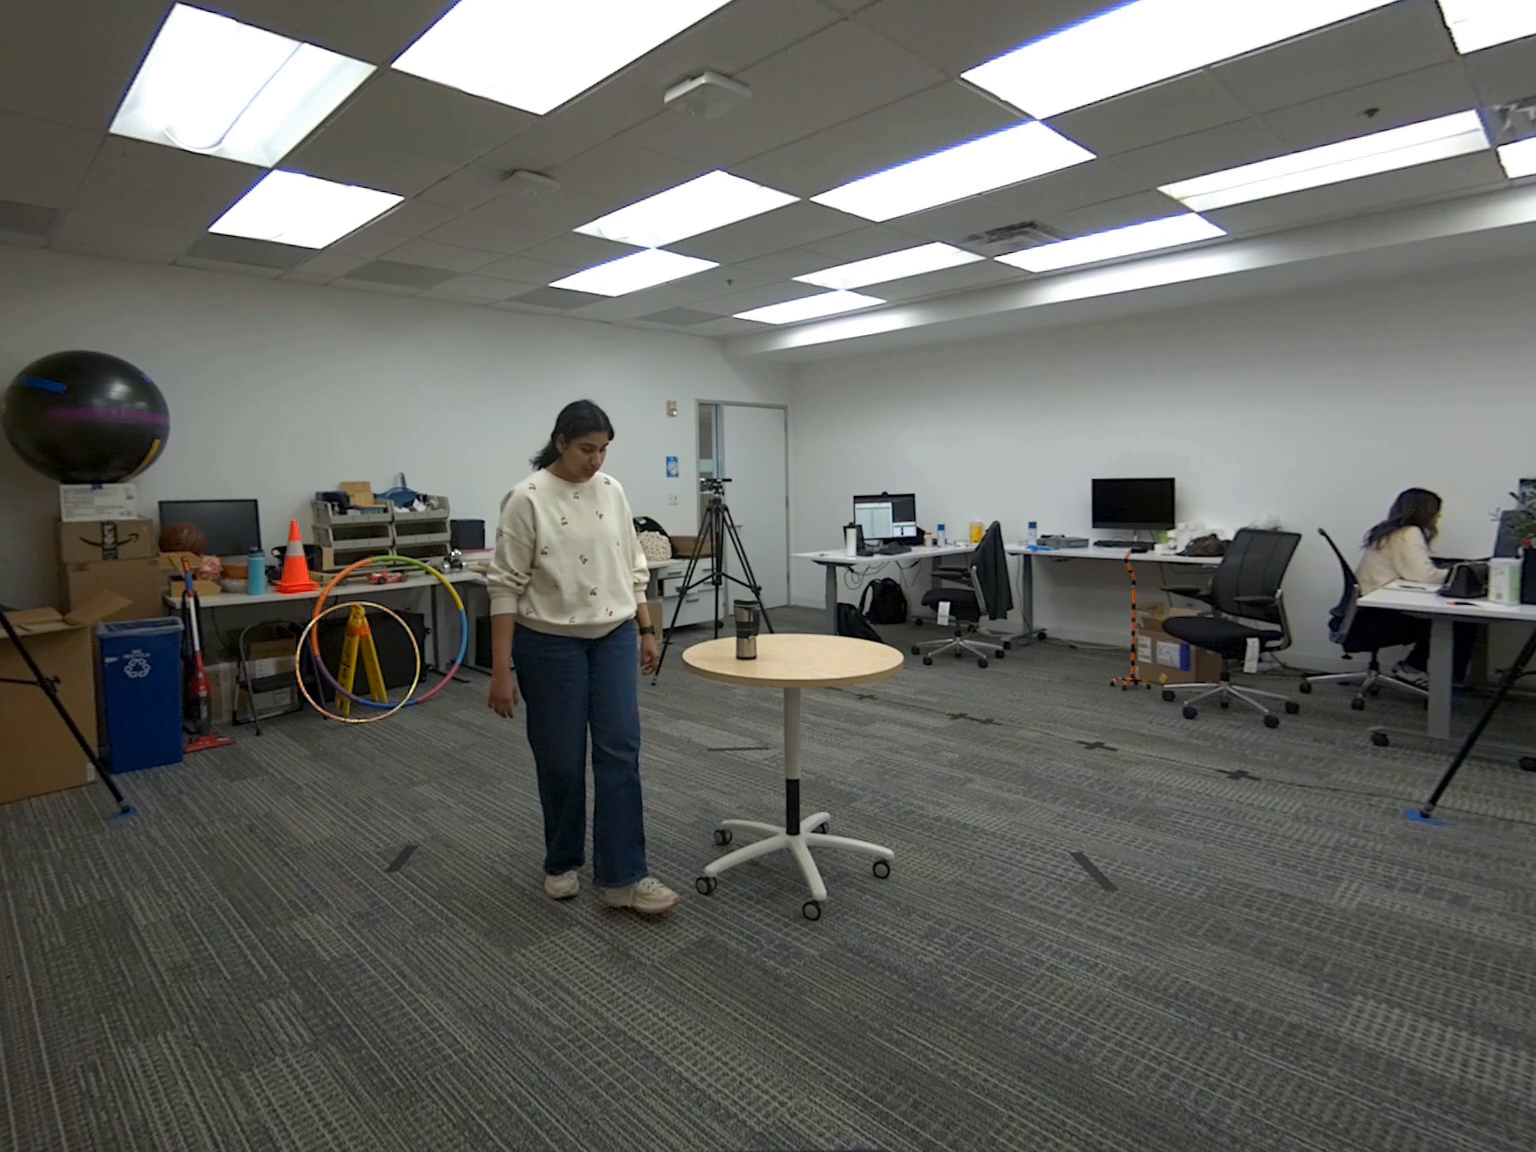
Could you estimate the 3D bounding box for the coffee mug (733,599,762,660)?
[{"bbox_3d":[-0.073,0.178,2.930,0.087,0.202,0.123,-5,5,-4],"label":"coffee mug"}]
